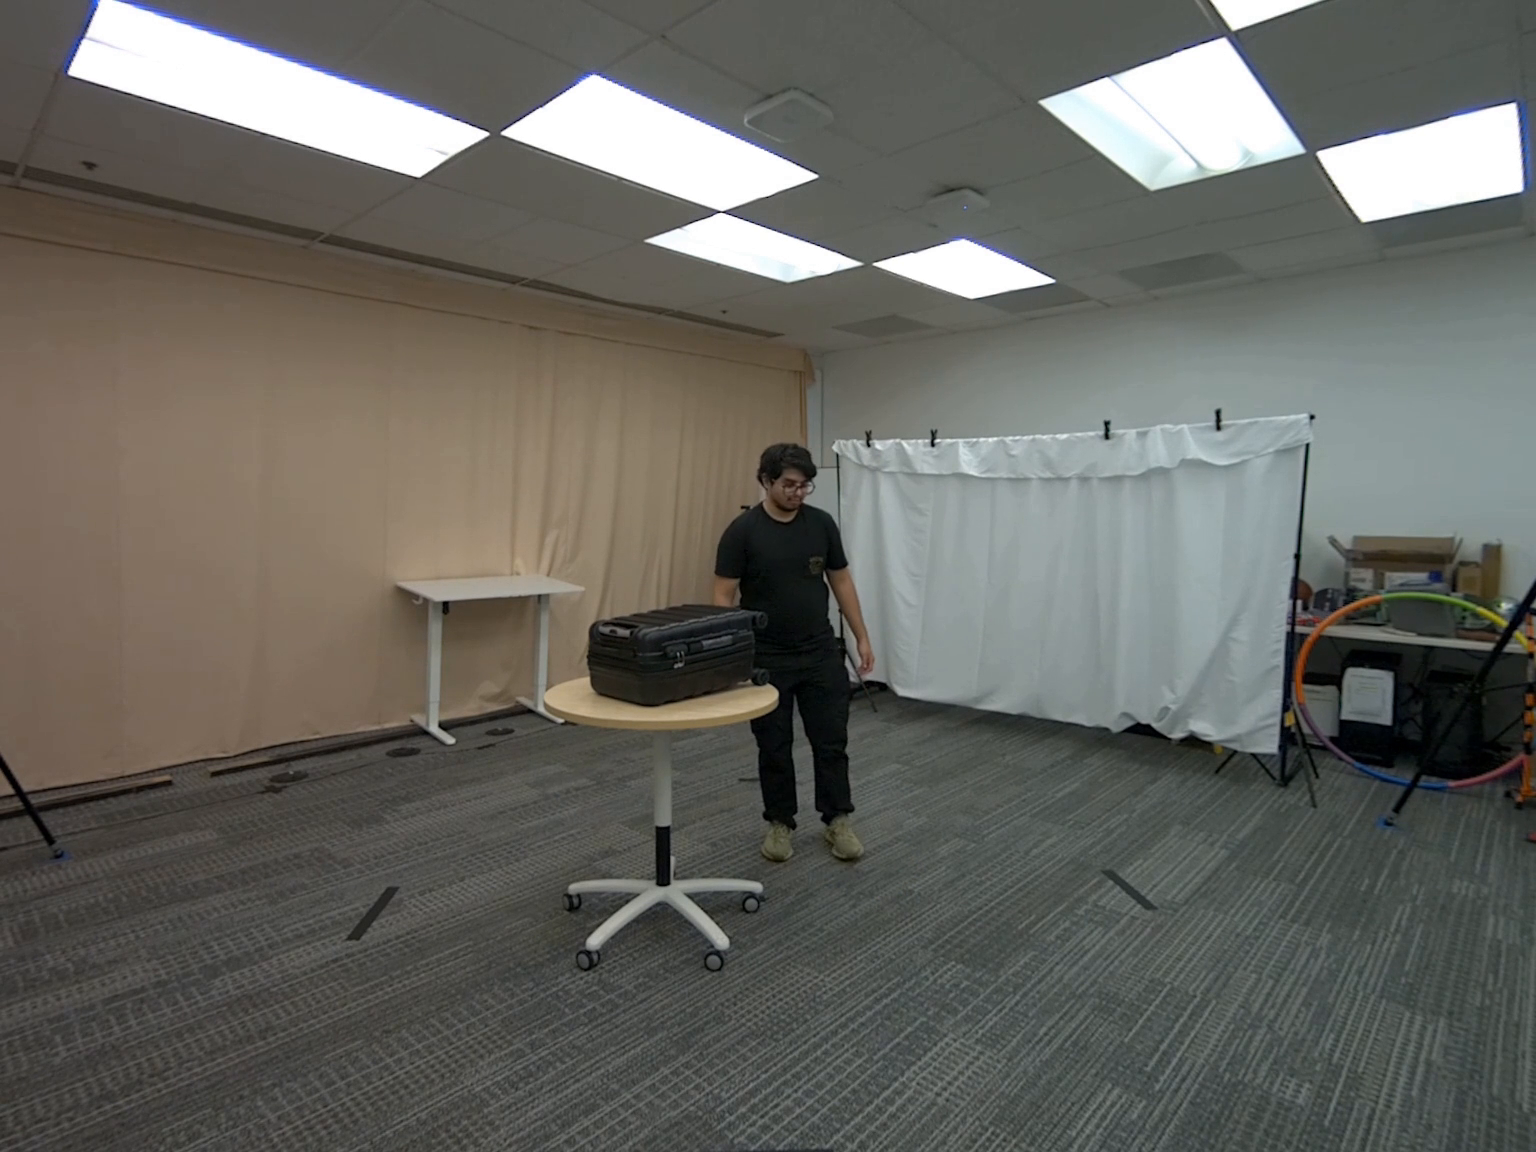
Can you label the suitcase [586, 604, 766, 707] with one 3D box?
[{"bbox_3d":[-0.307,0.254,2.798,0.388,0.247,0.533,4,7,45],"label":"suitcase"}]
